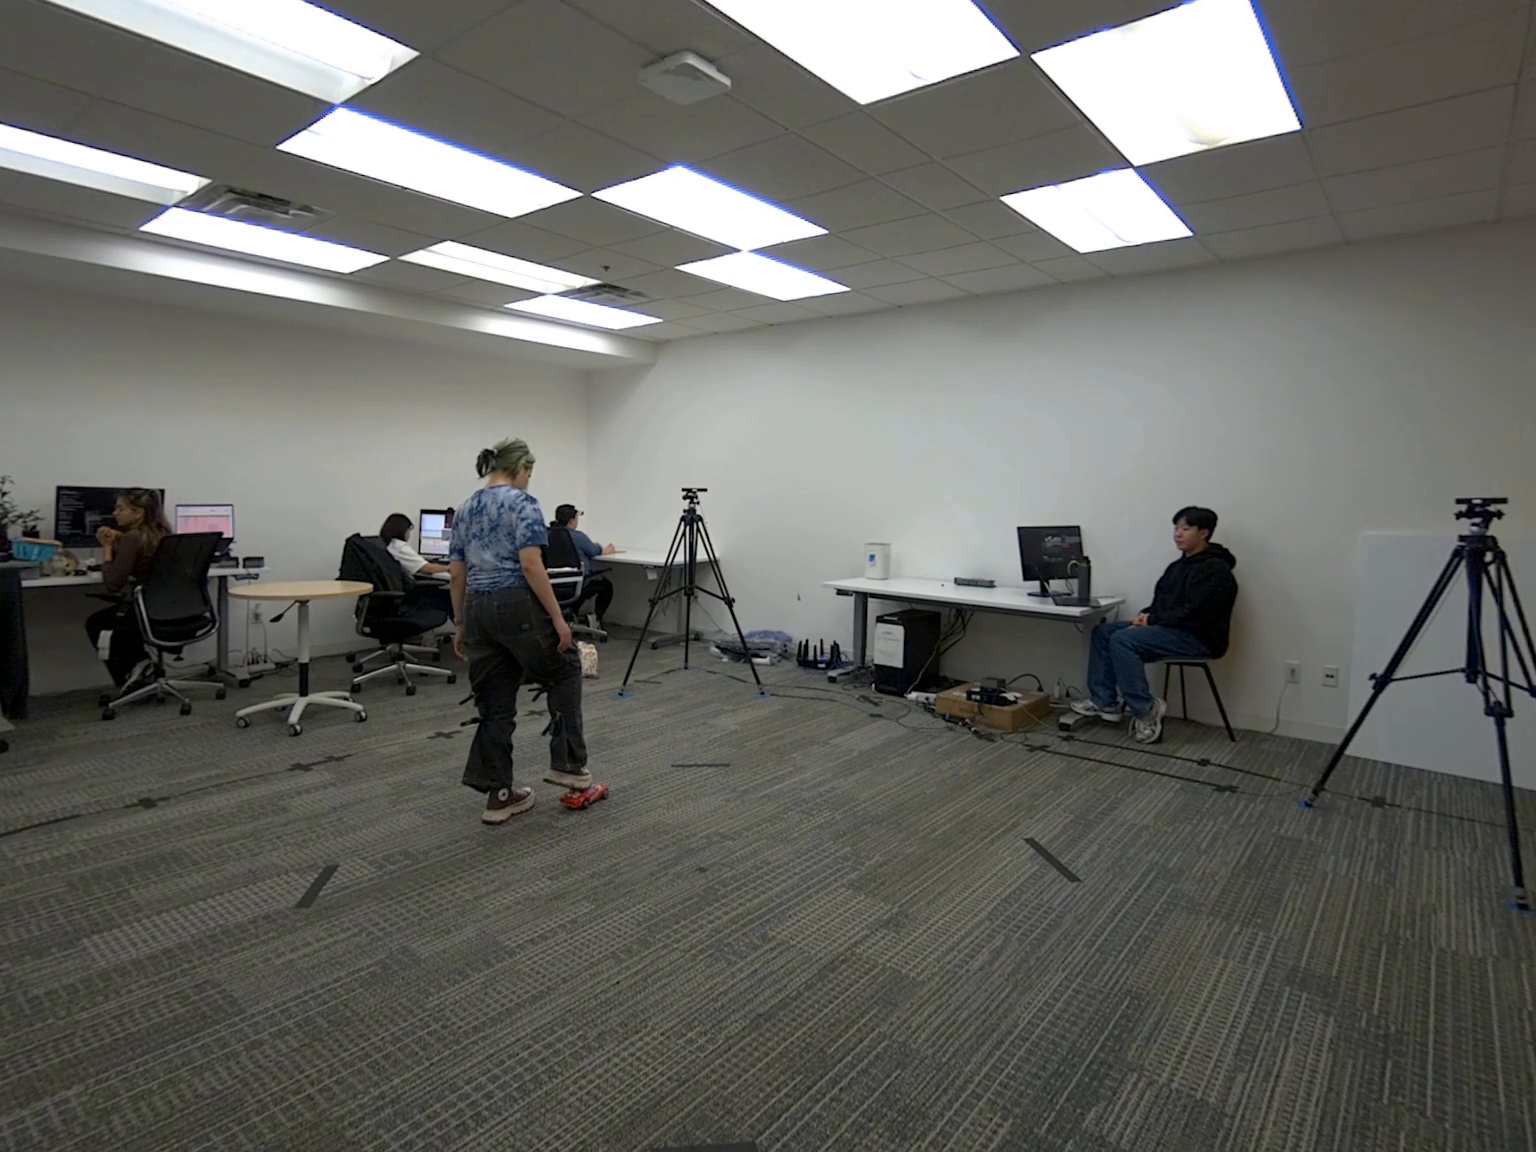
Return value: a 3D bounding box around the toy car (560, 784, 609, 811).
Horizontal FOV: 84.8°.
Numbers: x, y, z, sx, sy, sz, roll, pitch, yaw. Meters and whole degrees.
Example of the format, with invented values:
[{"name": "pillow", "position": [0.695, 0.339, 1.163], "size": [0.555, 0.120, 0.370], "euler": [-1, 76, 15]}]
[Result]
[{"name": "toy car", "position": [-0.826, 0.970, 3.754], "size": [0.134, 0.083, 0.246], "euler": [4, -3, 28]}]
